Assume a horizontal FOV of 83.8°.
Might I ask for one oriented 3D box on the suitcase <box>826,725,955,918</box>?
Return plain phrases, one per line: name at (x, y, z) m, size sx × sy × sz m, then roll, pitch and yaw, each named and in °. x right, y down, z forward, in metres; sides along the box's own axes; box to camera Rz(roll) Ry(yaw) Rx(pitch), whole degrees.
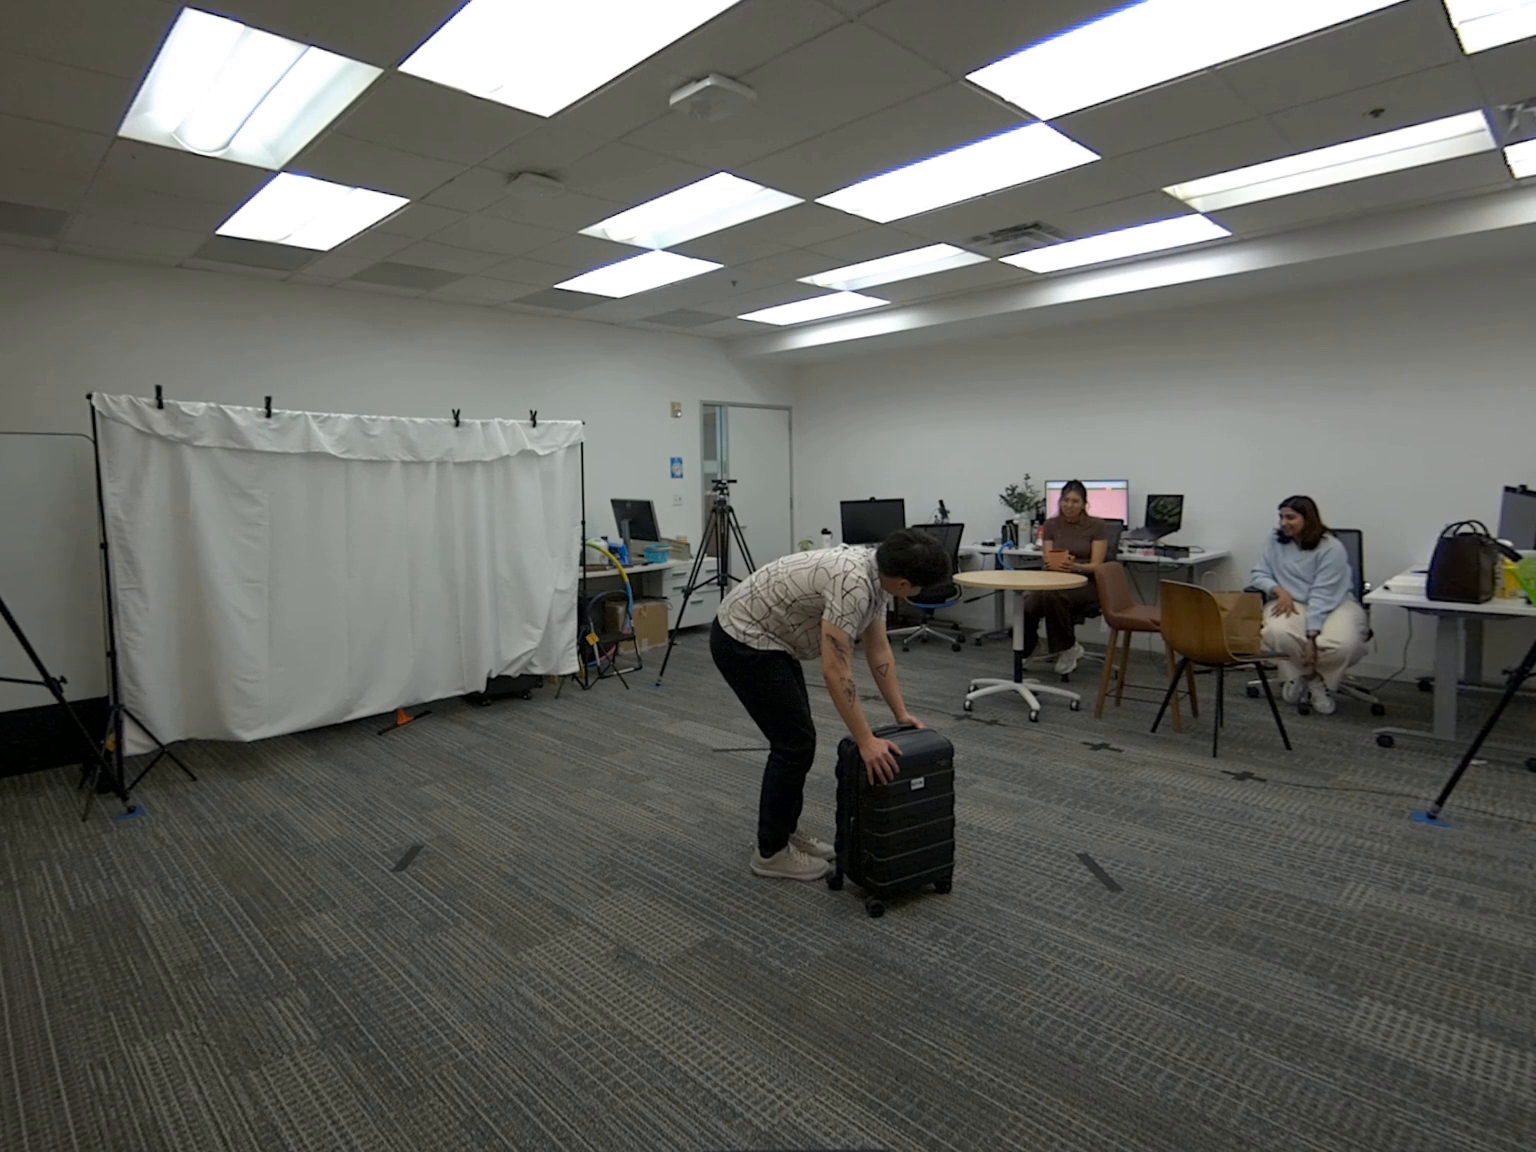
suitcase at (0.434, 0.790, 2.881) m, size 0.366 × 0.548 × 0.255 m, roll -1°, pitch 4°, yaw -29°
